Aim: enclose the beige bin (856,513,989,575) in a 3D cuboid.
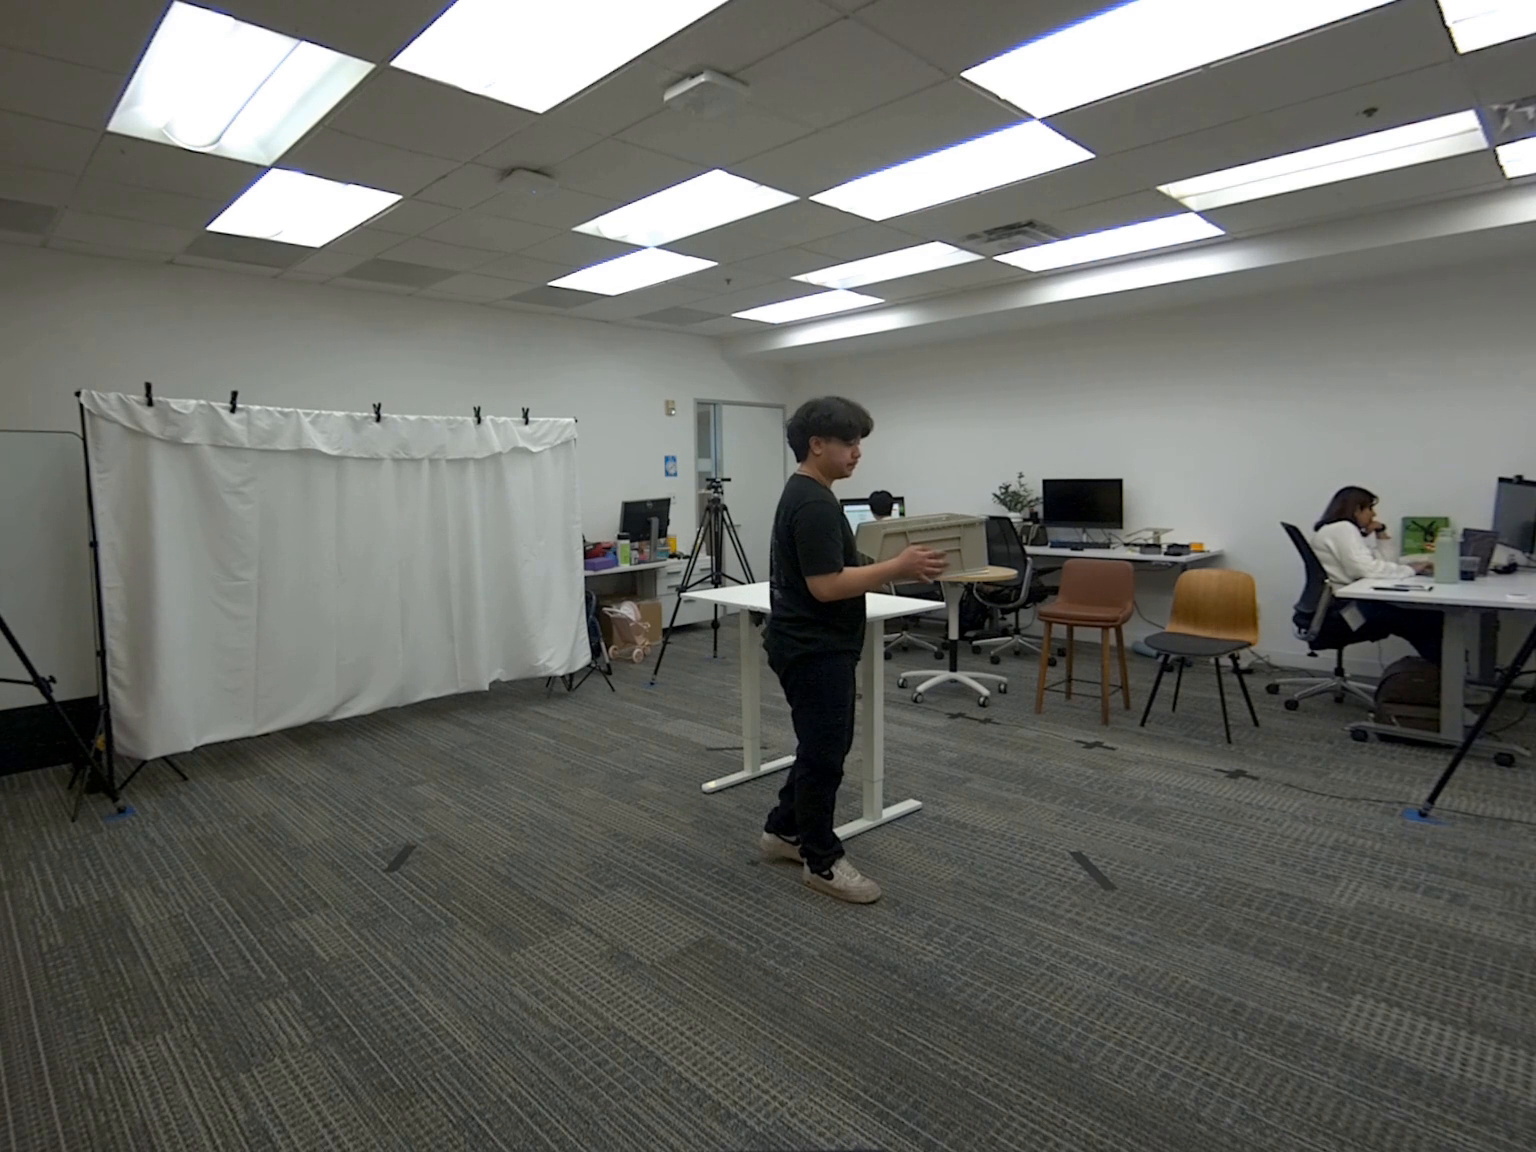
[{"bbox_3d":[0.507,-0.099,2.907,0.377,0.188,0.425,-4,6,-3],"label":"beige bin"}]
